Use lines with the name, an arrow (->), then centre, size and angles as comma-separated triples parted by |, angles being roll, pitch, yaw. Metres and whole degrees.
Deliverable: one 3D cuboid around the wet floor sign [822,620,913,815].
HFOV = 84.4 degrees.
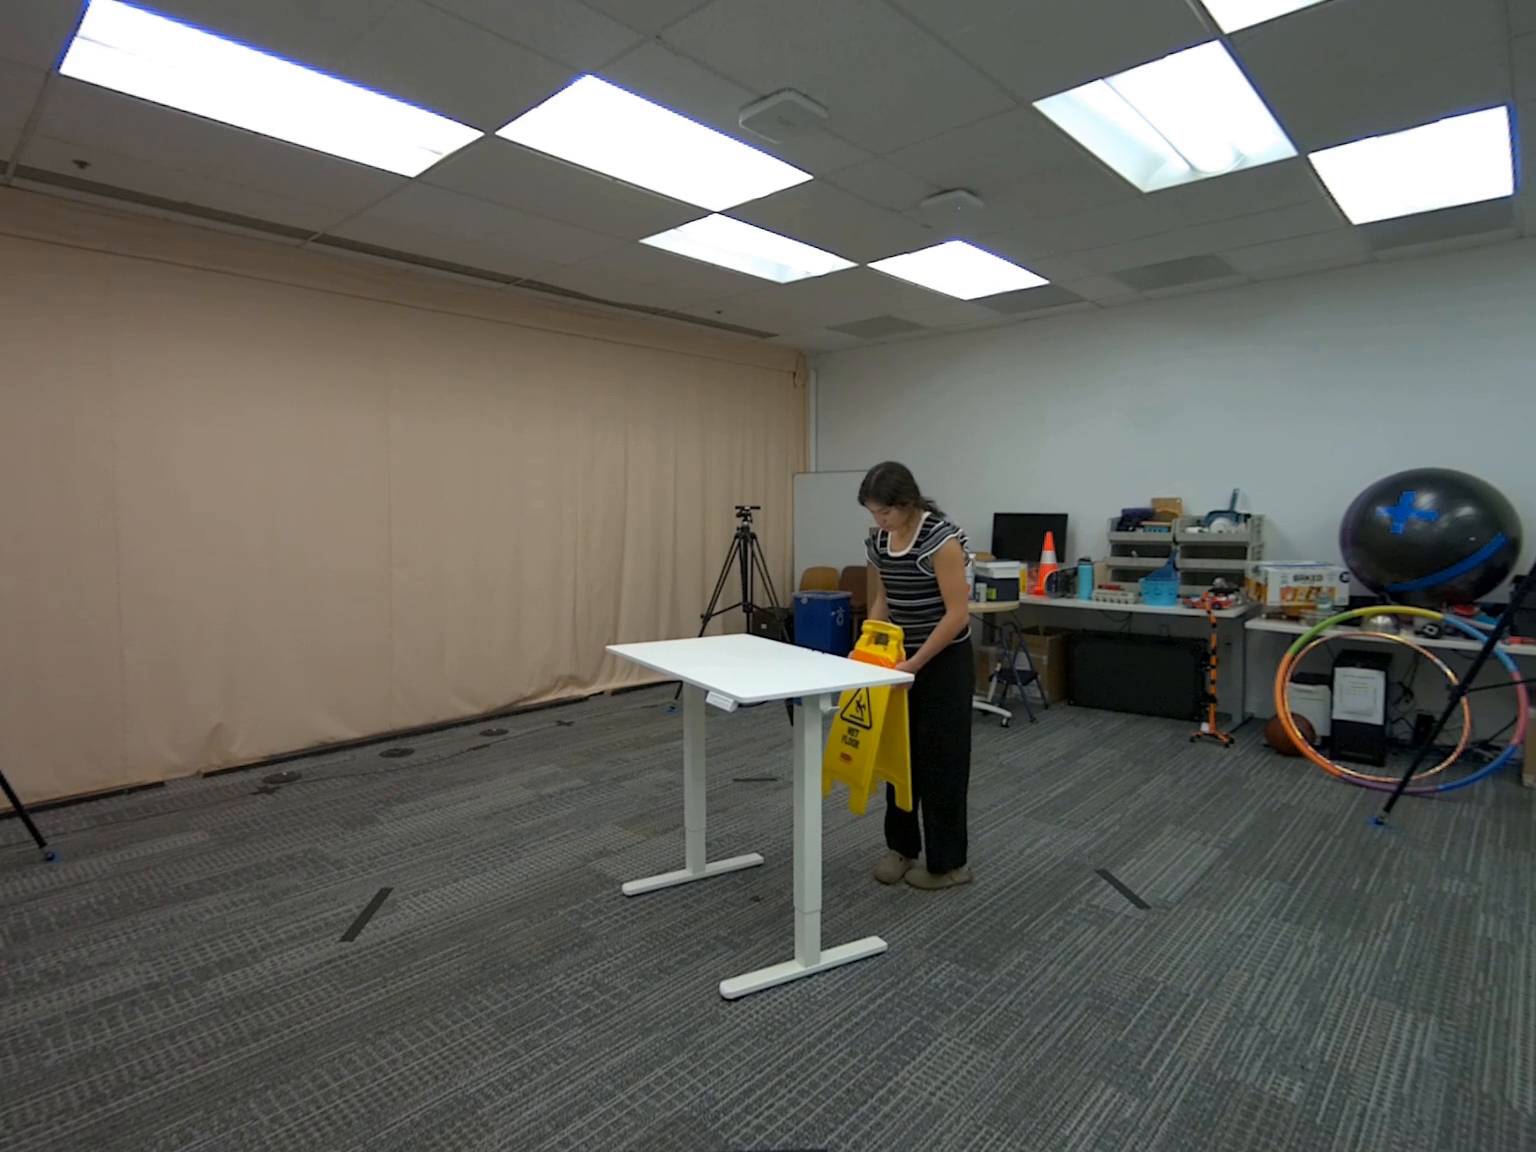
wet floor sign -> 0.391, 0.502, 3.054 | 0.281, 0.646, 0.291 | 5, 0, -32
